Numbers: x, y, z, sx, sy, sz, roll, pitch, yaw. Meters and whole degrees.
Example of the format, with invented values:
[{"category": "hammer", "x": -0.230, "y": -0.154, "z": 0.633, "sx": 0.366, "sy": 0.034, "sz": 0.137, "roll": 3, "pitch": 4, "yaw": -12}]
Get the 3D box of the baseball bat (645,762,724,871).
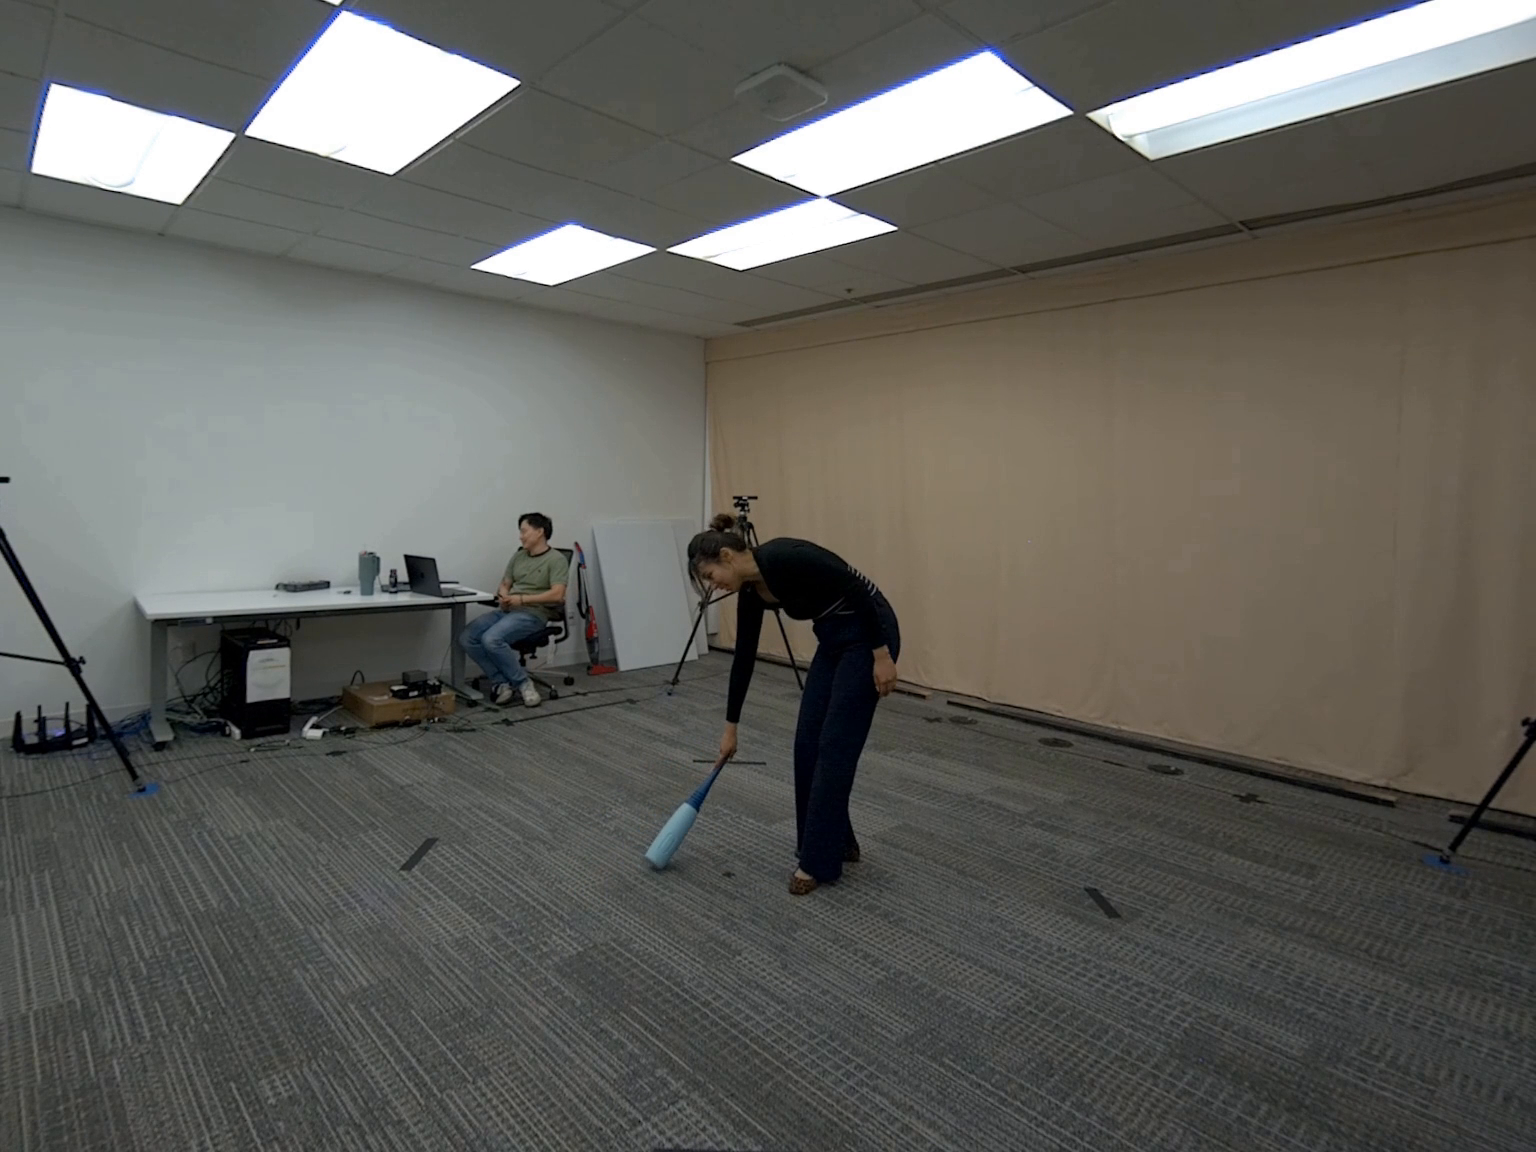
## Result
[{"category": "baseball bat", "x": -0.280, "y": 0.875, "z": 3.234, "sx": 0.091, "sy": 0.087, "sz": 0.543, "roll": 6, "pitch": 49, "yaw": 49}]
